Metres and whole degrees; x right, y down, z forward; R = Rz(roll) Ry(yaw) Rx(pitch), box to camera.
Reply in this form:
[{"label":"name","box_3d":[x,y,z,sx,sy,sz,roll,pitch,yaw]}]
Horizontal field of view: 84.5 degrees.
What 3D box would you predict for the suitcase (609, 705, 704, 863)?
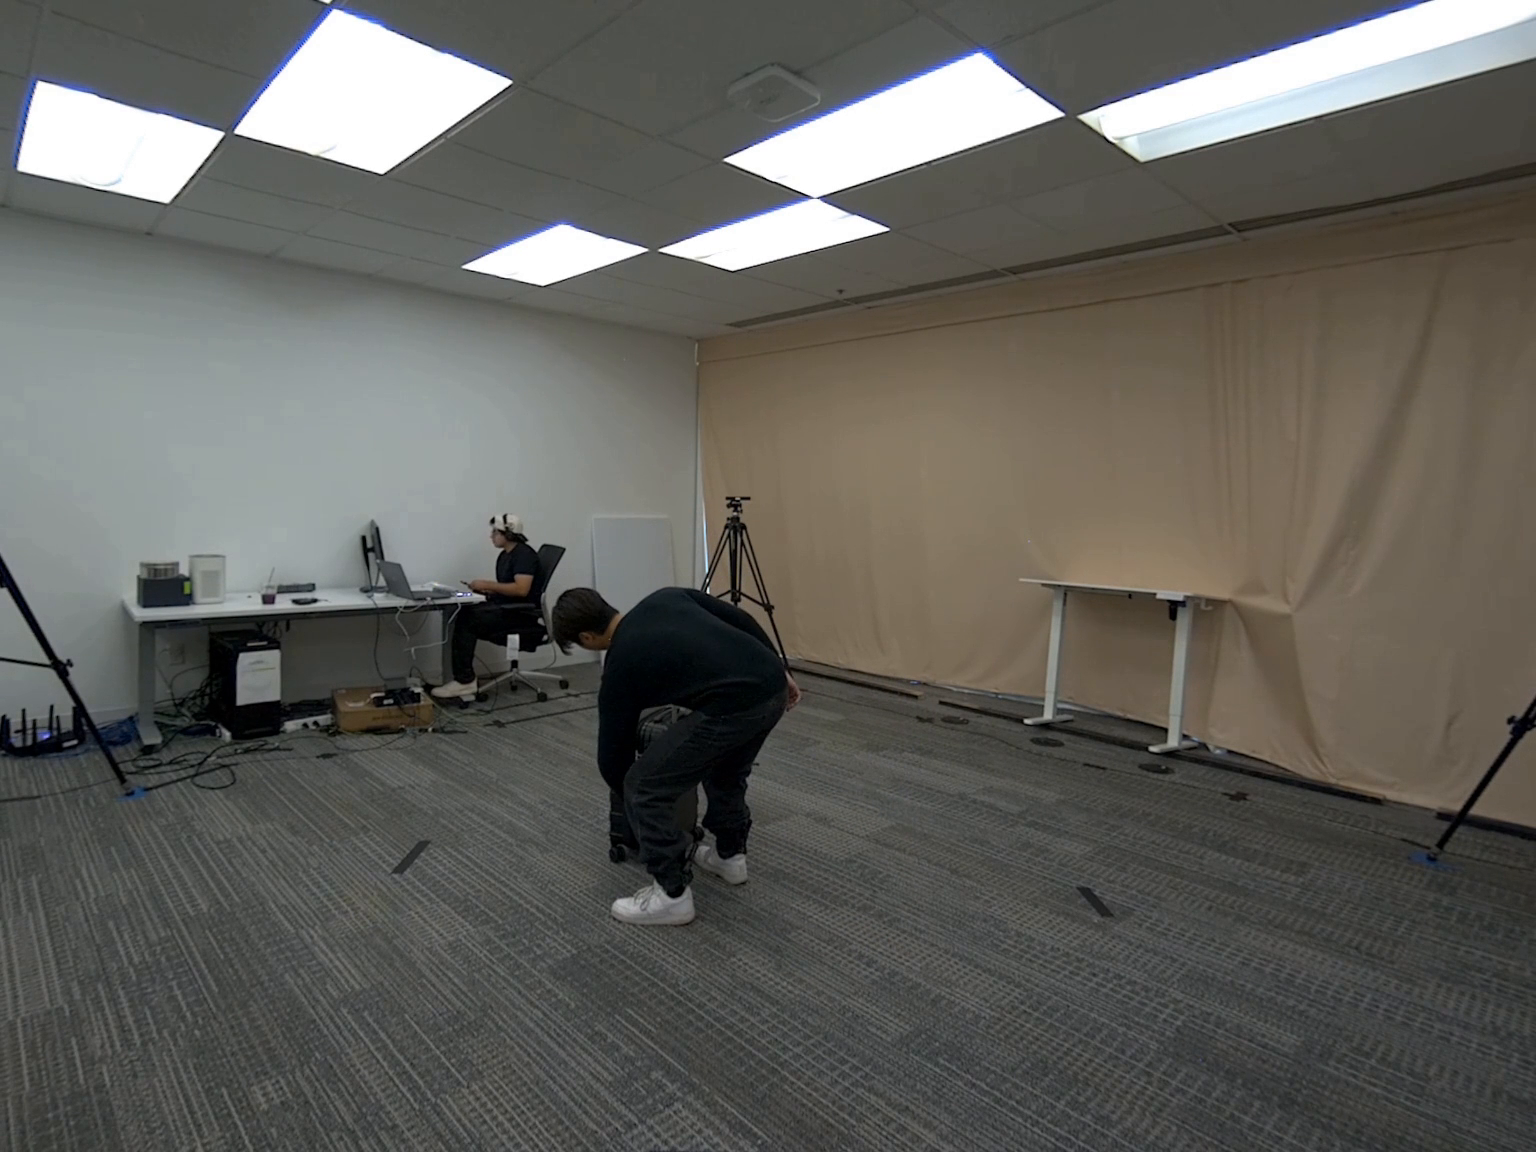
[{"label":"suitcase","box_3d":[-0.454,0.604,3.312,0.260,0.977,0.380,0,2,14]}]
